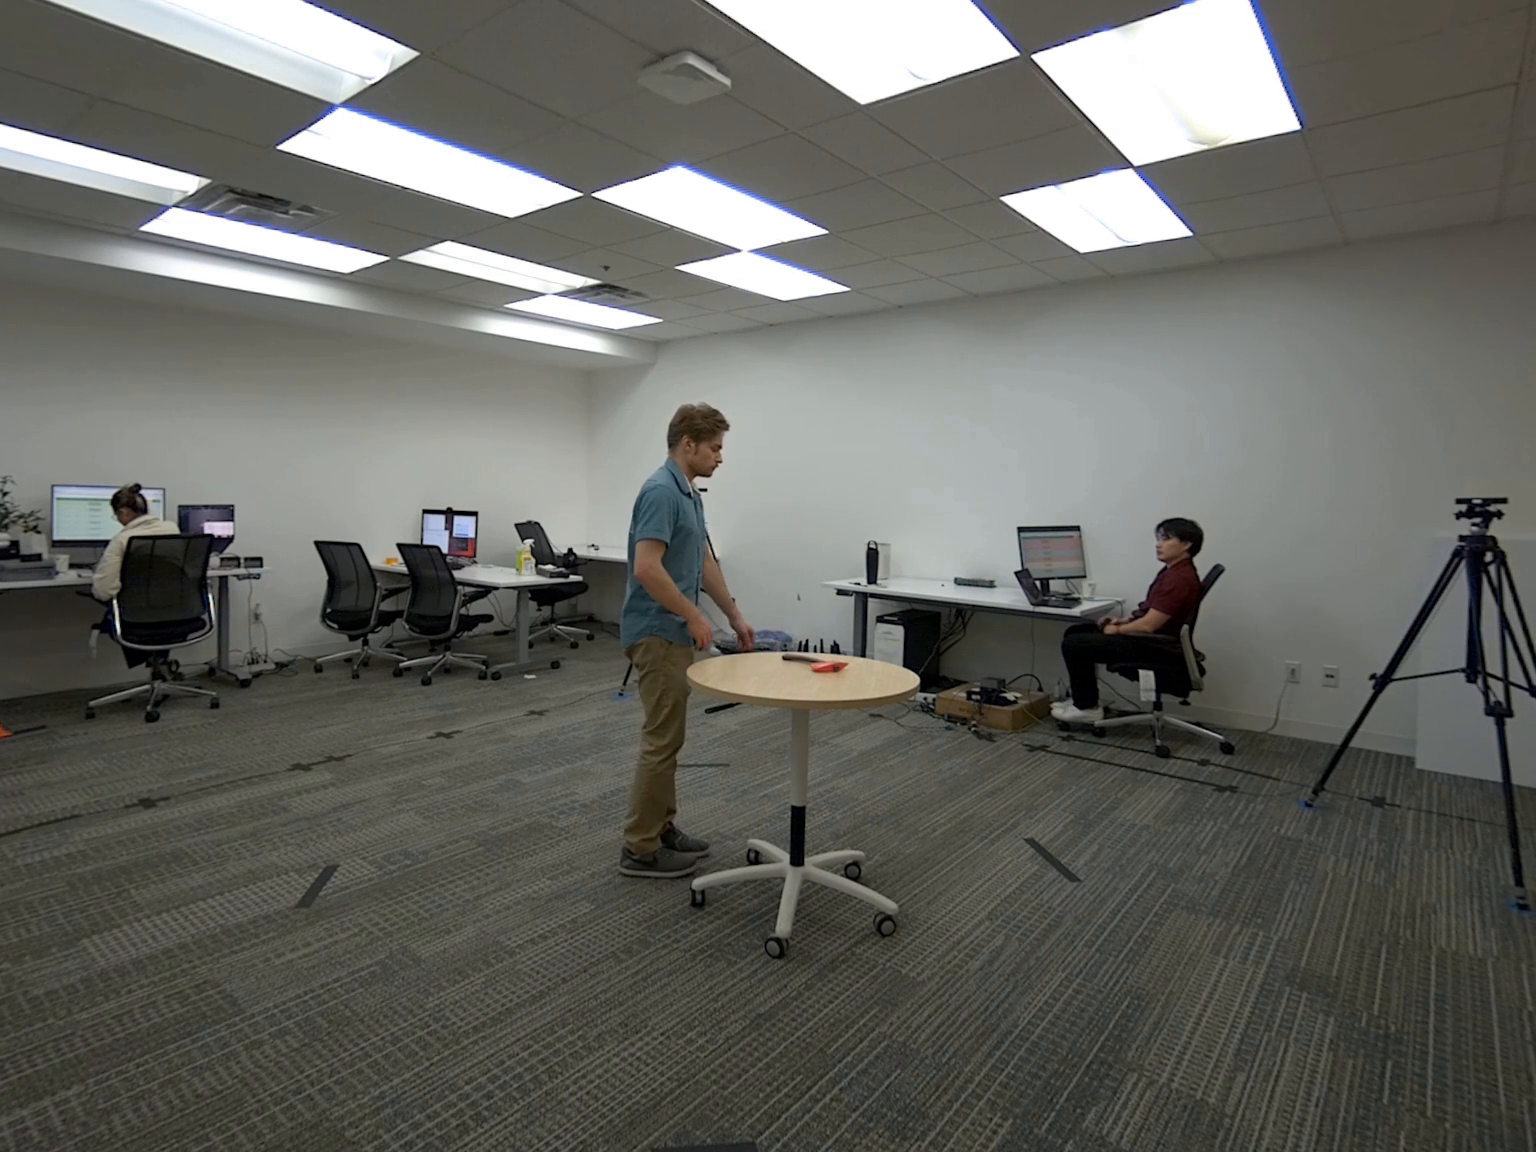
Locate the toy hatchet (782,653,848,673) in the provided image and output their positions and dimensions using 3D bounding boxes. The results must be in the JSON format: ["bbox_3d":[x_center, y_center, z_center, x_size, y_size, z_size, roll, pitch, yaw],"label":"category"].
[{"bbox_3d":[0.131,0.303,2.935,0.279,0.029,0.127,3,10,42],"label":"toy hatchet"}]
